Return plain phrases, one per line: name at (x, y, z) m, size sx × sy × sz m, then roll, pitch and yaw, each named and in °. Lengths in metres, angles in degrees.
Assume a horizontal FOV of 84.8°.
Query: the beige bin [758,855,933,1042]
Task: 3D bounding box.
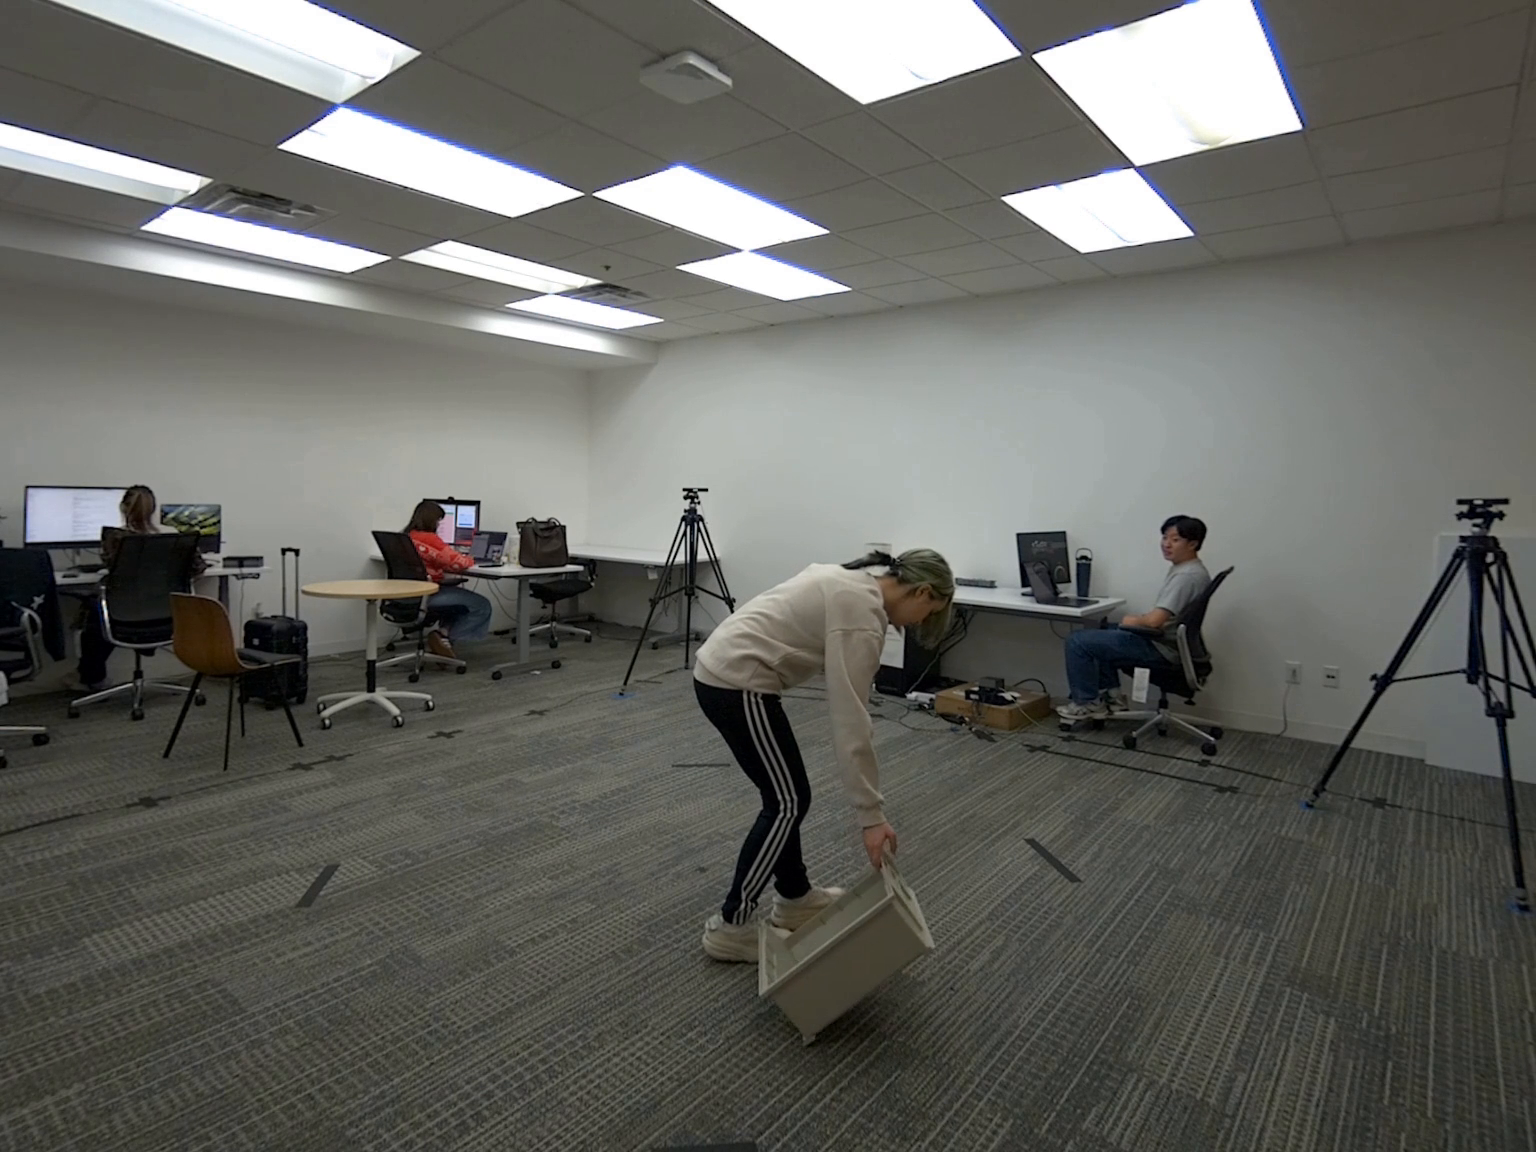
beige bin at (0.198, 0.963, 2.281) m, size 0.422 × 0.188 × 0.379 m, roll -38°, pitch 6°, yaw 3°
